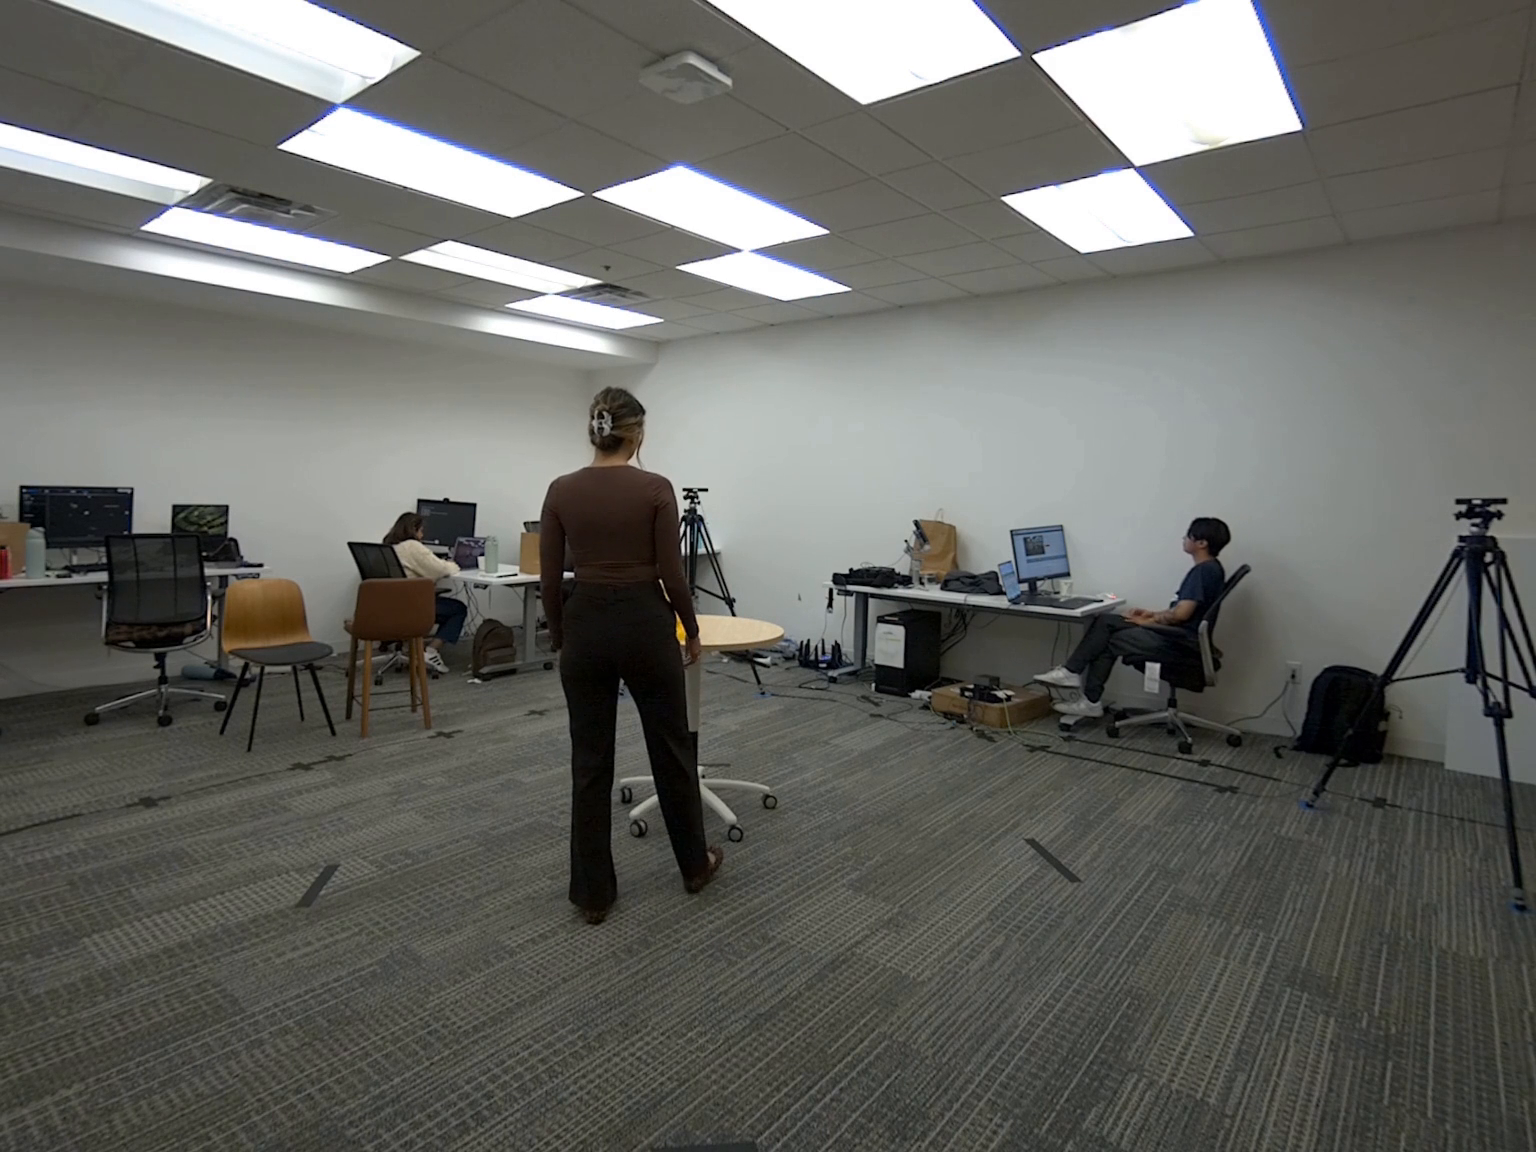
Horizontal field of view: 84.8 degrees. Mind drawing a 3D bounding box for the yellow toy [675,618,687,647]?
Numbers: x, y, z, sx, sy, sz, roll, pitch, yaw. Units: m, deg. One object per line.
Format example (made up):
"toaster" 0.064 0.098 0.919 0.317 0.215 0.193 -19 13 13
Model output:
"yellow toy" -0.408 0.122 3.440 0.212 0.230 0.187 4 5 41
